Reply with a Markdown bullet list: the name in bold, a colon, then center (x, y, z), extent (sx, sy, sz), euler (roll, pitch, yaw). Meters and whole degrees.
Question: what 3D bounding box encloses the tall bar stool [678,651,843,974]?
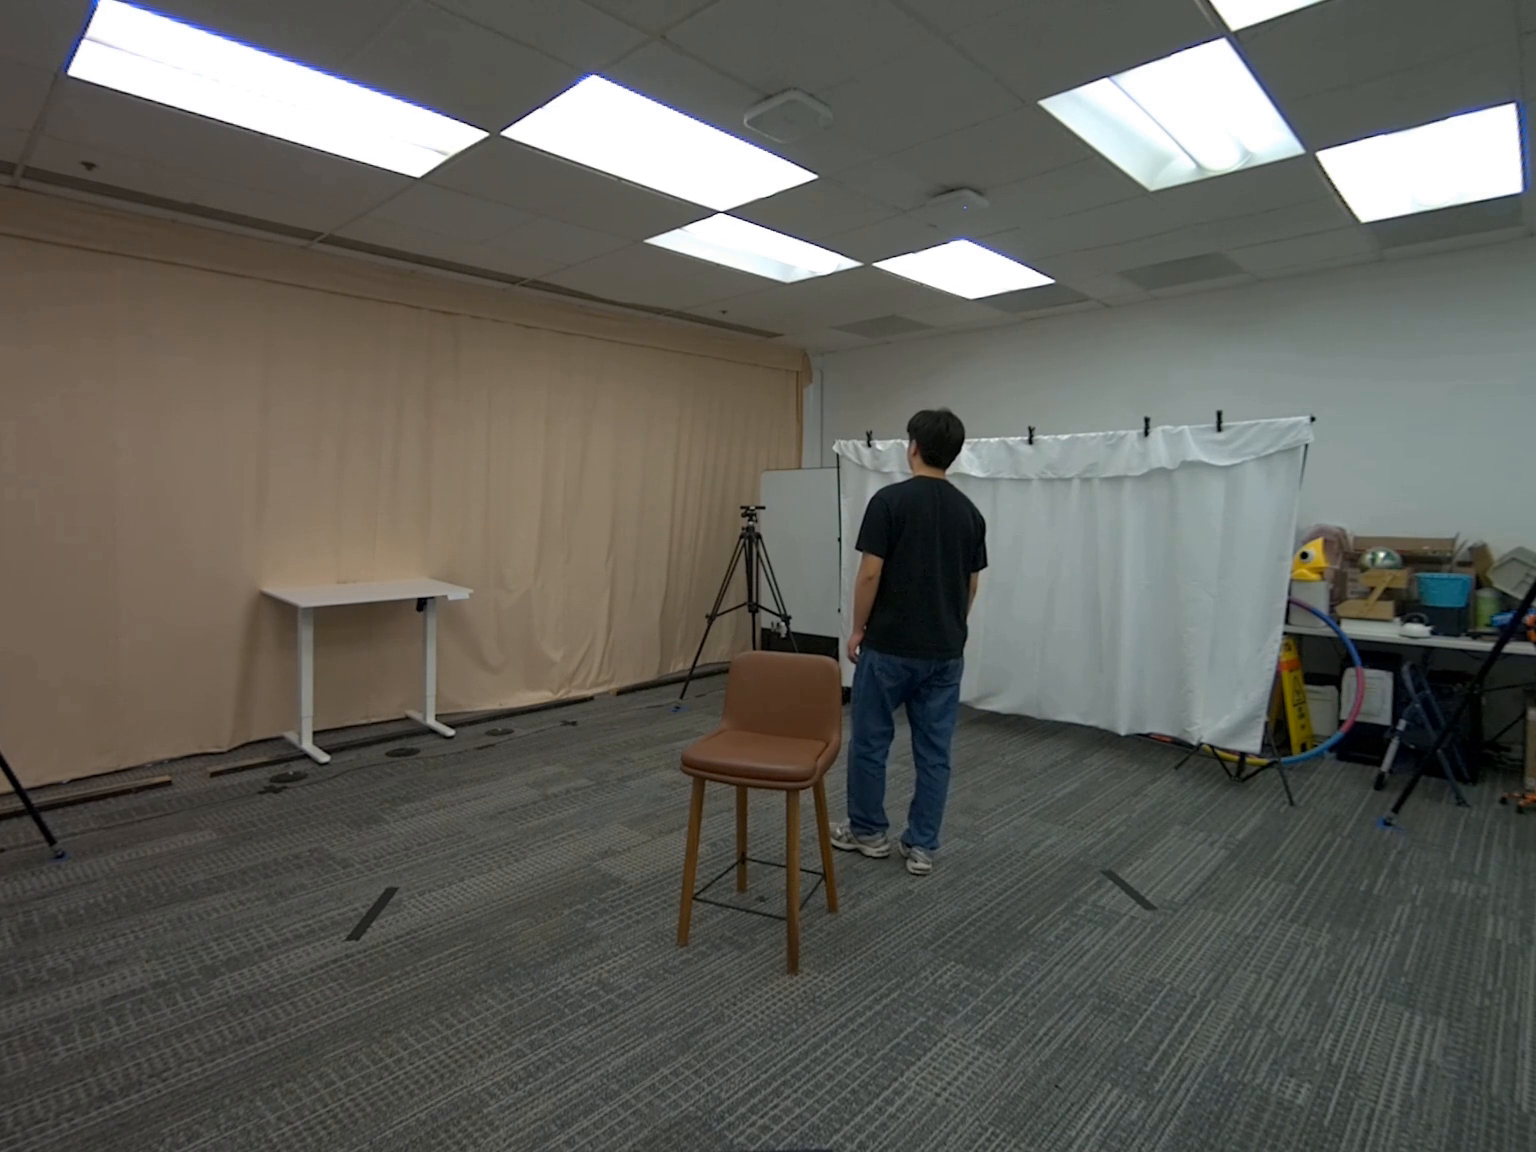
- **tall bar stool**: center (-0.009, 0.728, 2.762), extent (0.469, 0.889, 0.456), euler (2, 2, 26)
